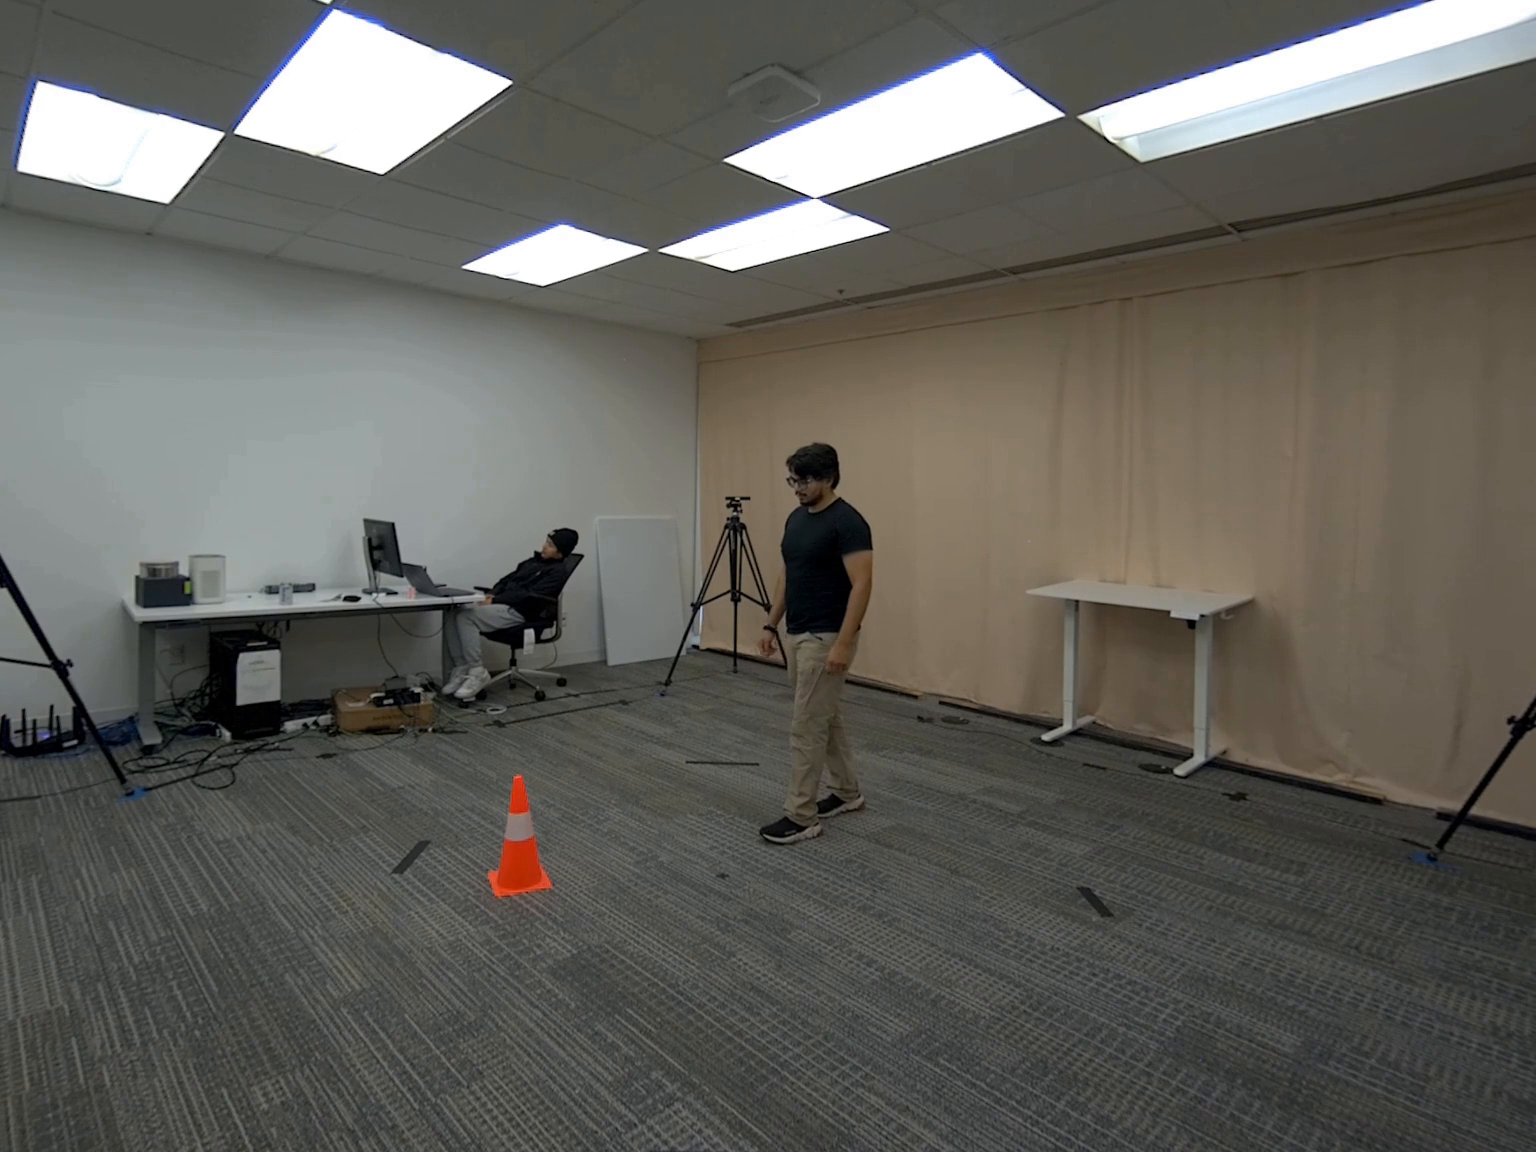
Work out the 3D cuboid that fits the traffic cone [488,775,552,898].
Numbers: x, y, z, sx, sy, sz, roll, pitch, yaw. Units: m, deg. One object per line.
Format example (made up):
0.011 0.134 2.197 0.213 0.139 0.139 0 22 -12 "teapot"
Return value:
-0.901 0.915 3.018 0.201 0.382 0.208 0 5 -29 "traffic cone"
